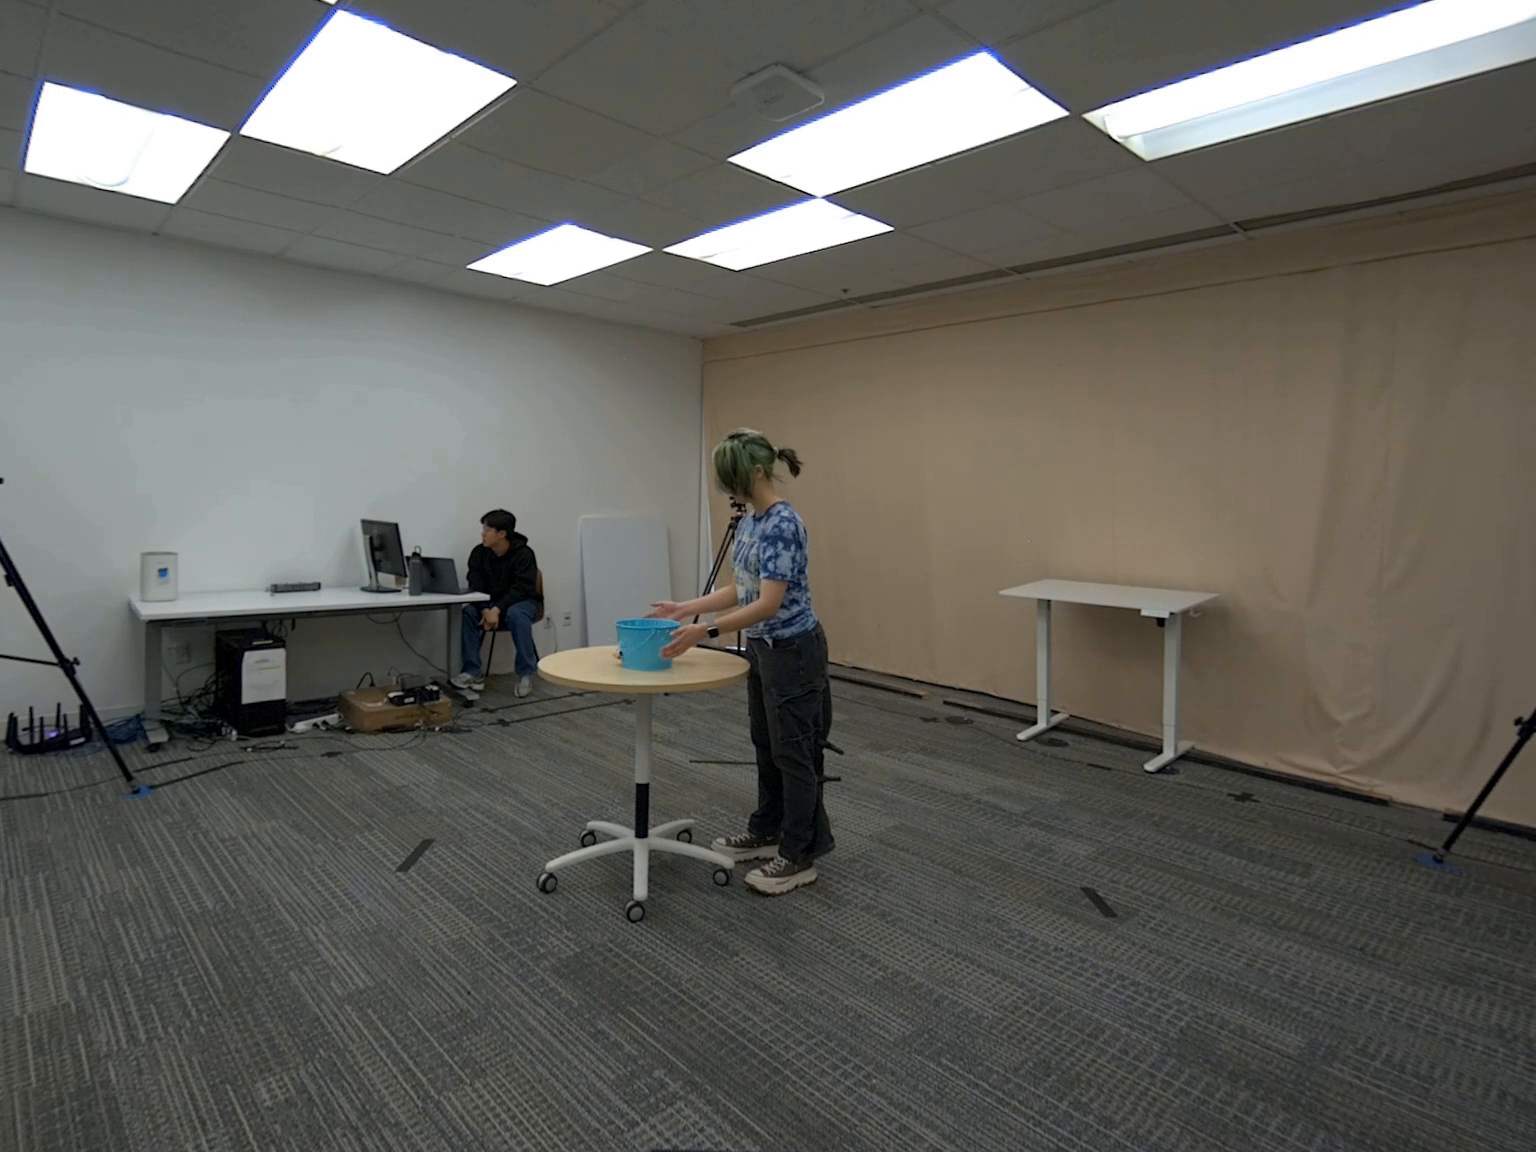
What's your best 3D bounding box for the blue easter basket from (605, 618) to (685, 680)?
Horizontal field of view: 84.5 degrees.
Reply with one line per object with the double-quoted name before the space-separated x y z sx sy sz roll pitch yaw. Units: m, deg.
"blue easter basket" -0.432 0.252 2.997 0.243 0.155 0.244 4 4 -2
